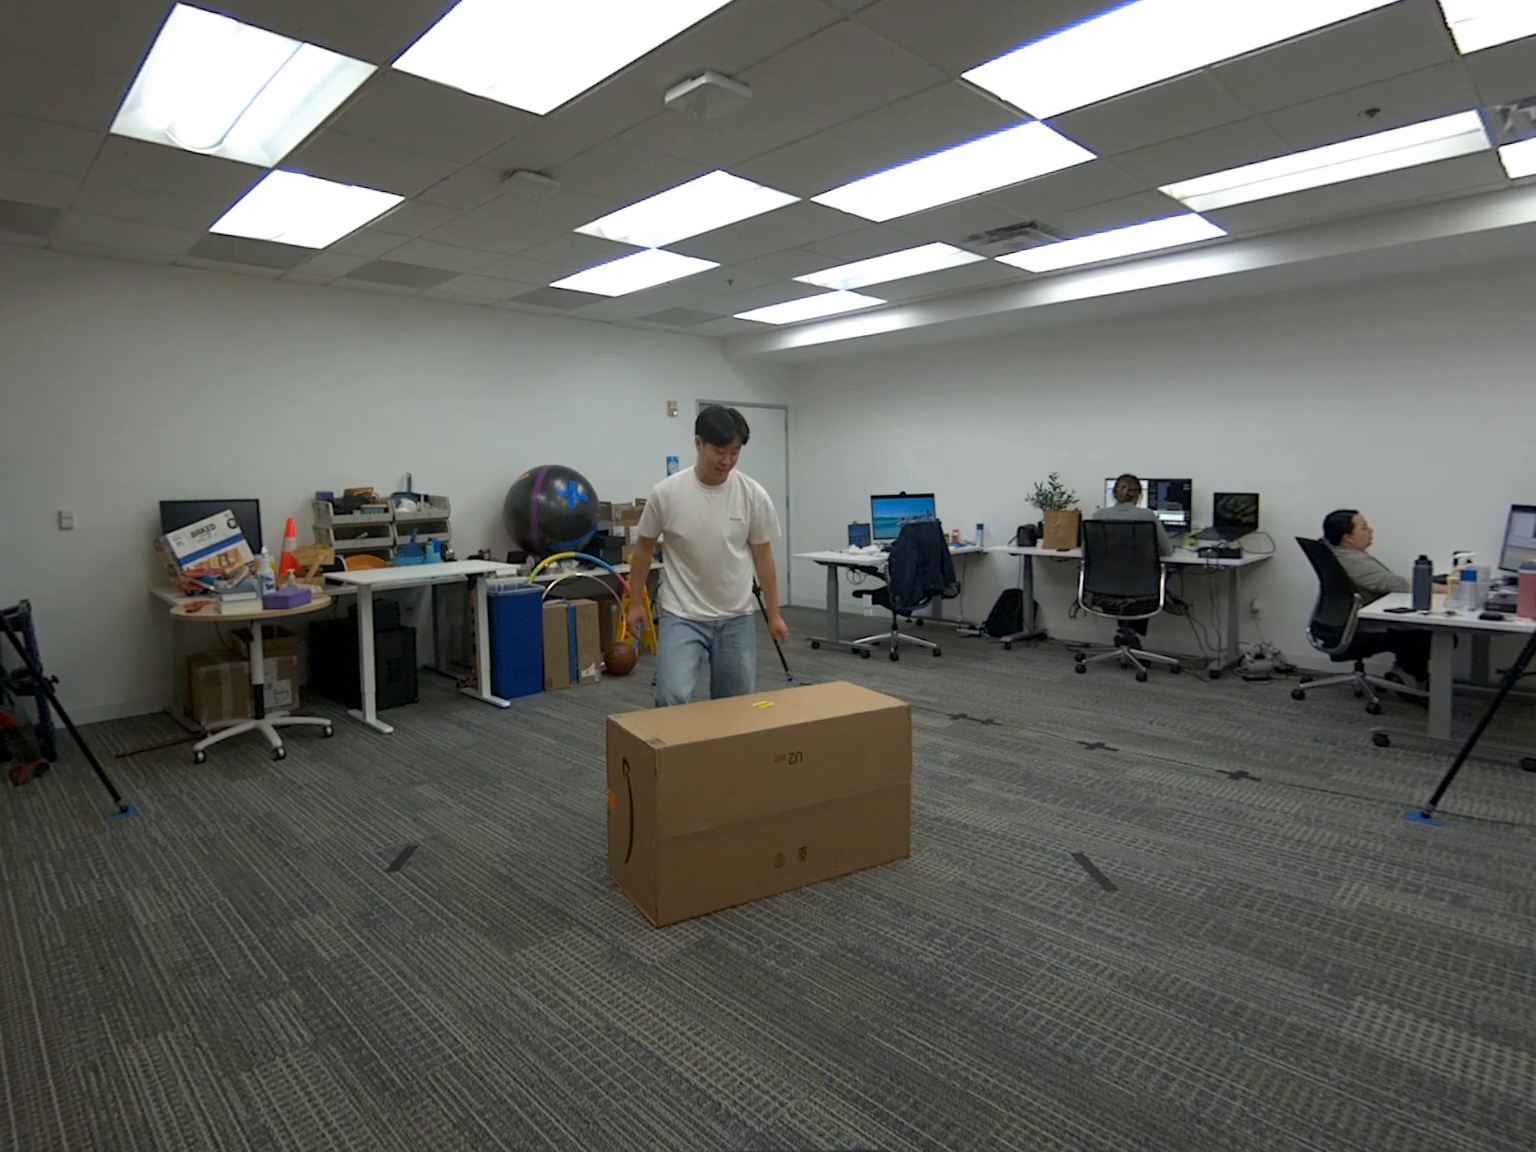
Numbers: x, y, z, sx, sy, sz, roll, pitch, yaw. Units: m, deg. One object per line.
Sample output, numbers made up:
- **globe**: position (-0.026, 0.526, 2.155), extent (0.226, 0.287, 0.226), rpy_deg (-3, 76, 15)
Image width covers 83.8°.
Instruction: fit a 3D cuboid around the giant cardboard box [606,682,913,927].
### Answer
- **giant cardboard box**: position (-0.024, 0.762, 3.063), extent (1.003, 0.575, 0.438), rpy_deg (-4, 5, -28)
